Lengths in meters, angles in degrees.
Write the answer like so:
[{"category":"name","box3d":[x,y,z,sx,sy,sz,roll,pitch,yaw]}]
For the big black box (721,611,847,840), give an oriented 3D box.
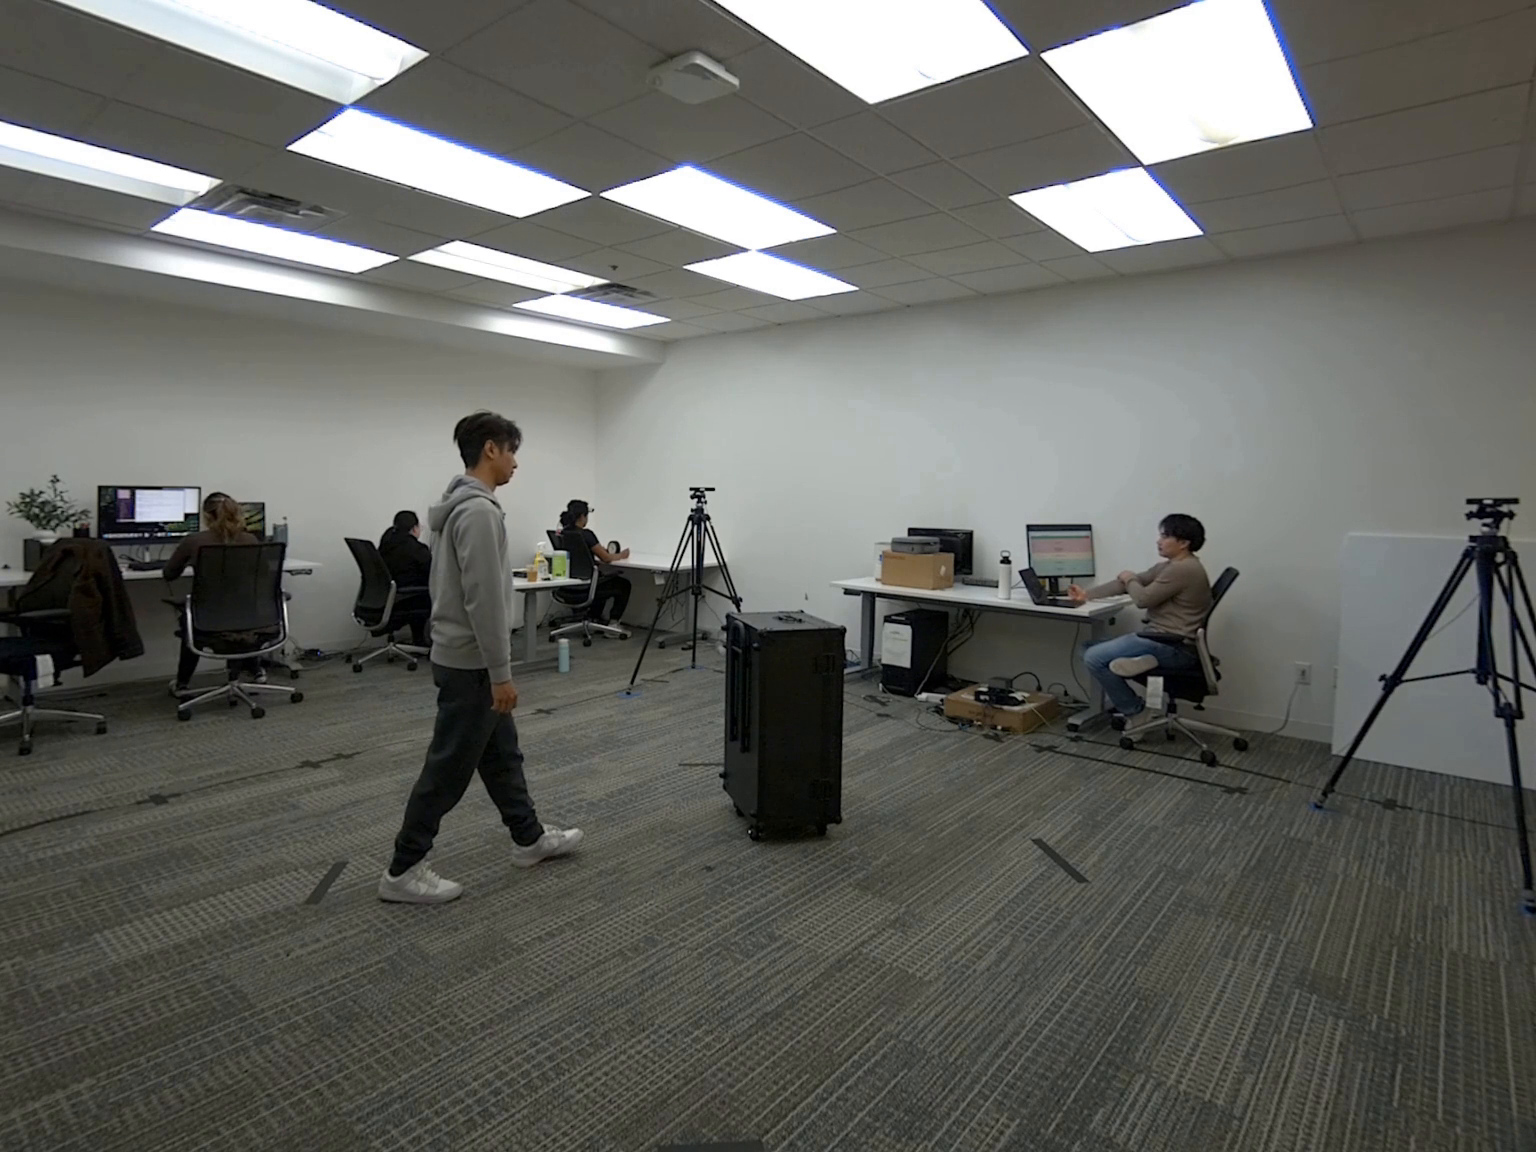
[{"category":"big black box","box3d":[0.038,0.542,3.554,0.389,0.859,0.533,0,3,-19]}]
